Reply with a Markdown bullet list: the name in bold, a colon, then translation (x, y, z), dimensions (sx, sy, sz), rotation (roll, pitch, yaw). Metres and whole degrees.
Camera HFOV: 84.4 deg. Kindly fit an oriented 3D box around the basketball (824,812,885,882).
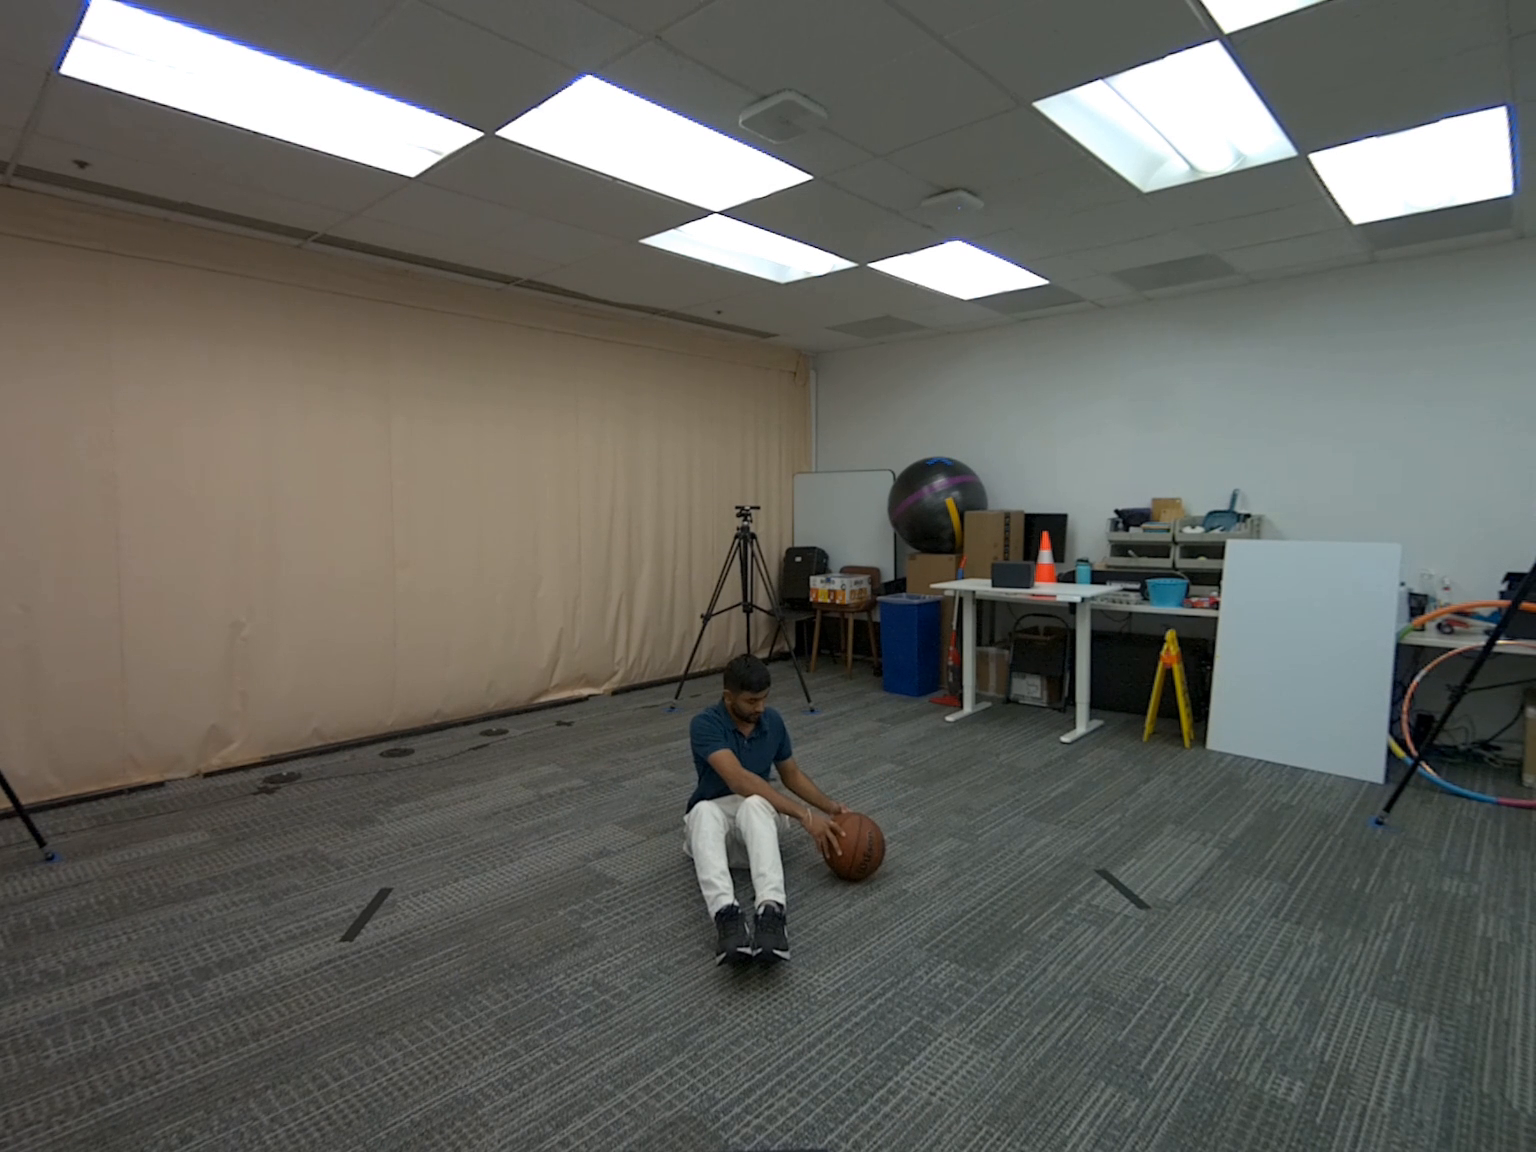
- **basketball**: translation (0.328, 1.004, 3.139), dimensions (0.236, 0.235, 0.237), rotation (0, 4, -2)
